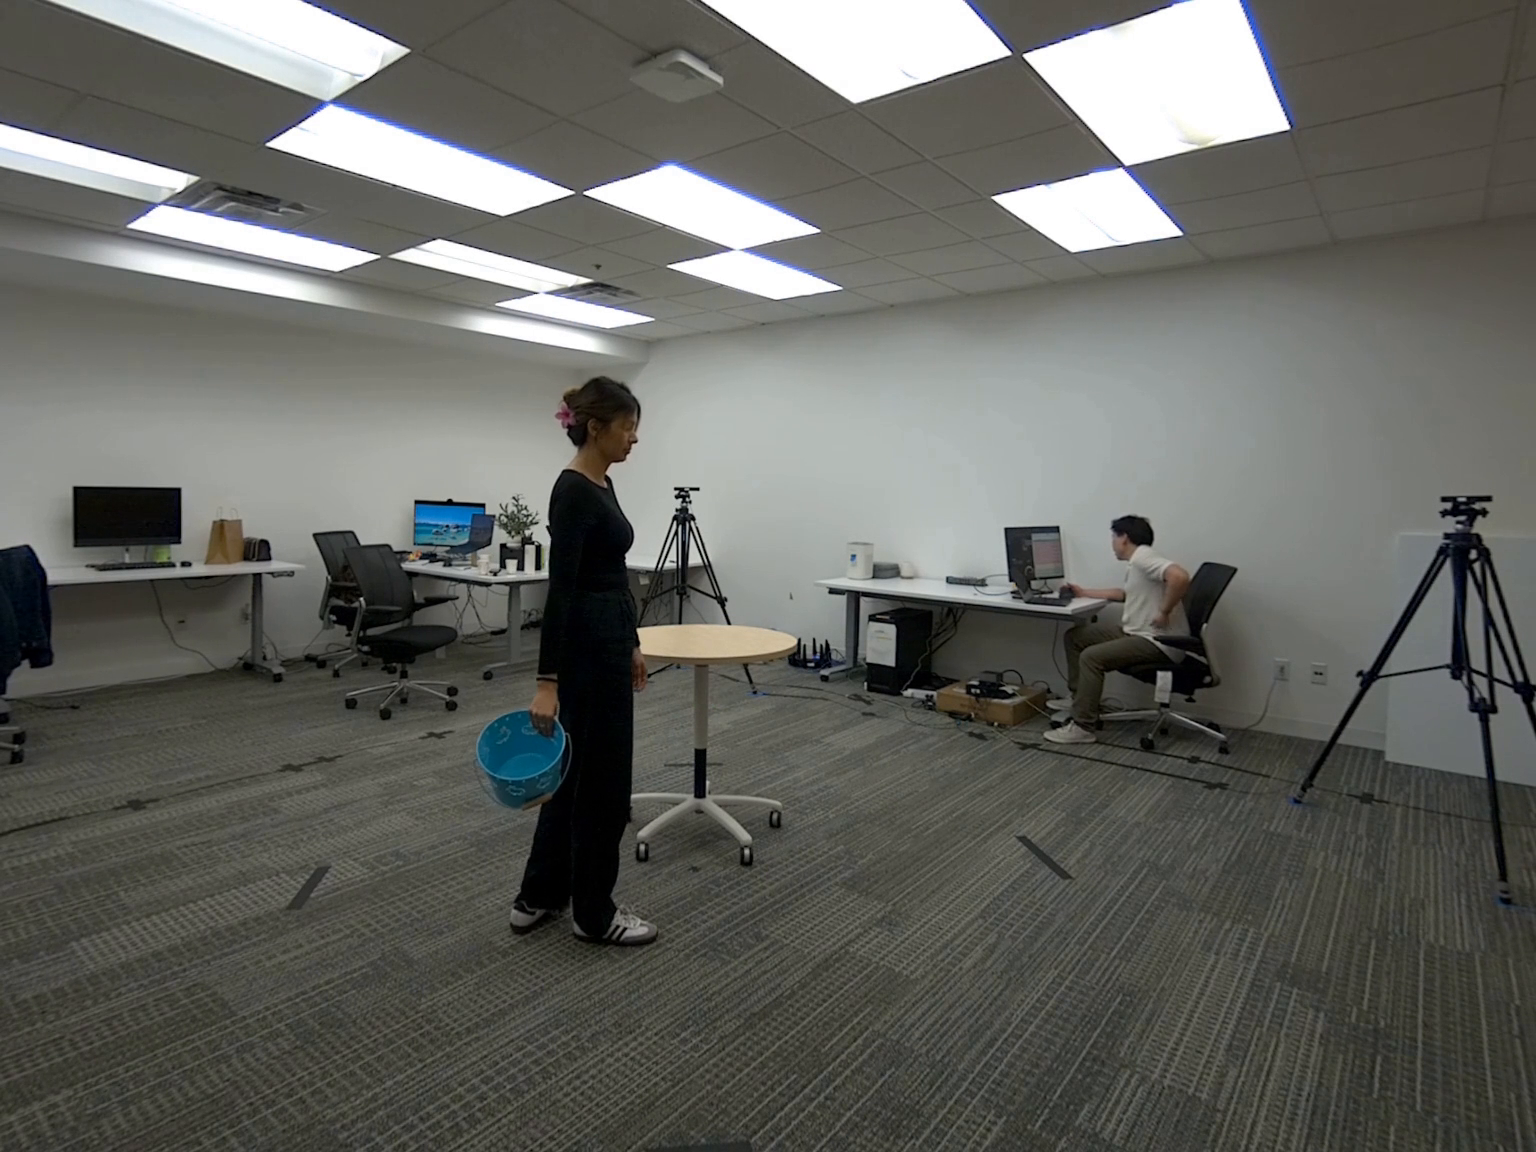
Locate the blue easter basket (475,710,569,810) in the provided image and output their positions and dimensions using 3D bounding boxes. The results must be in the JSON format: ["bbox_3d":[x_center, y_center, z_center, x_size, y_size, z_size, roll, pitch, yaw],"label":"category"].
[{"bbox_3d":[-0.655,0.491,2.261,0.243,0.152,0.250,1,37,-2],"label":"blue easter basket"}]
